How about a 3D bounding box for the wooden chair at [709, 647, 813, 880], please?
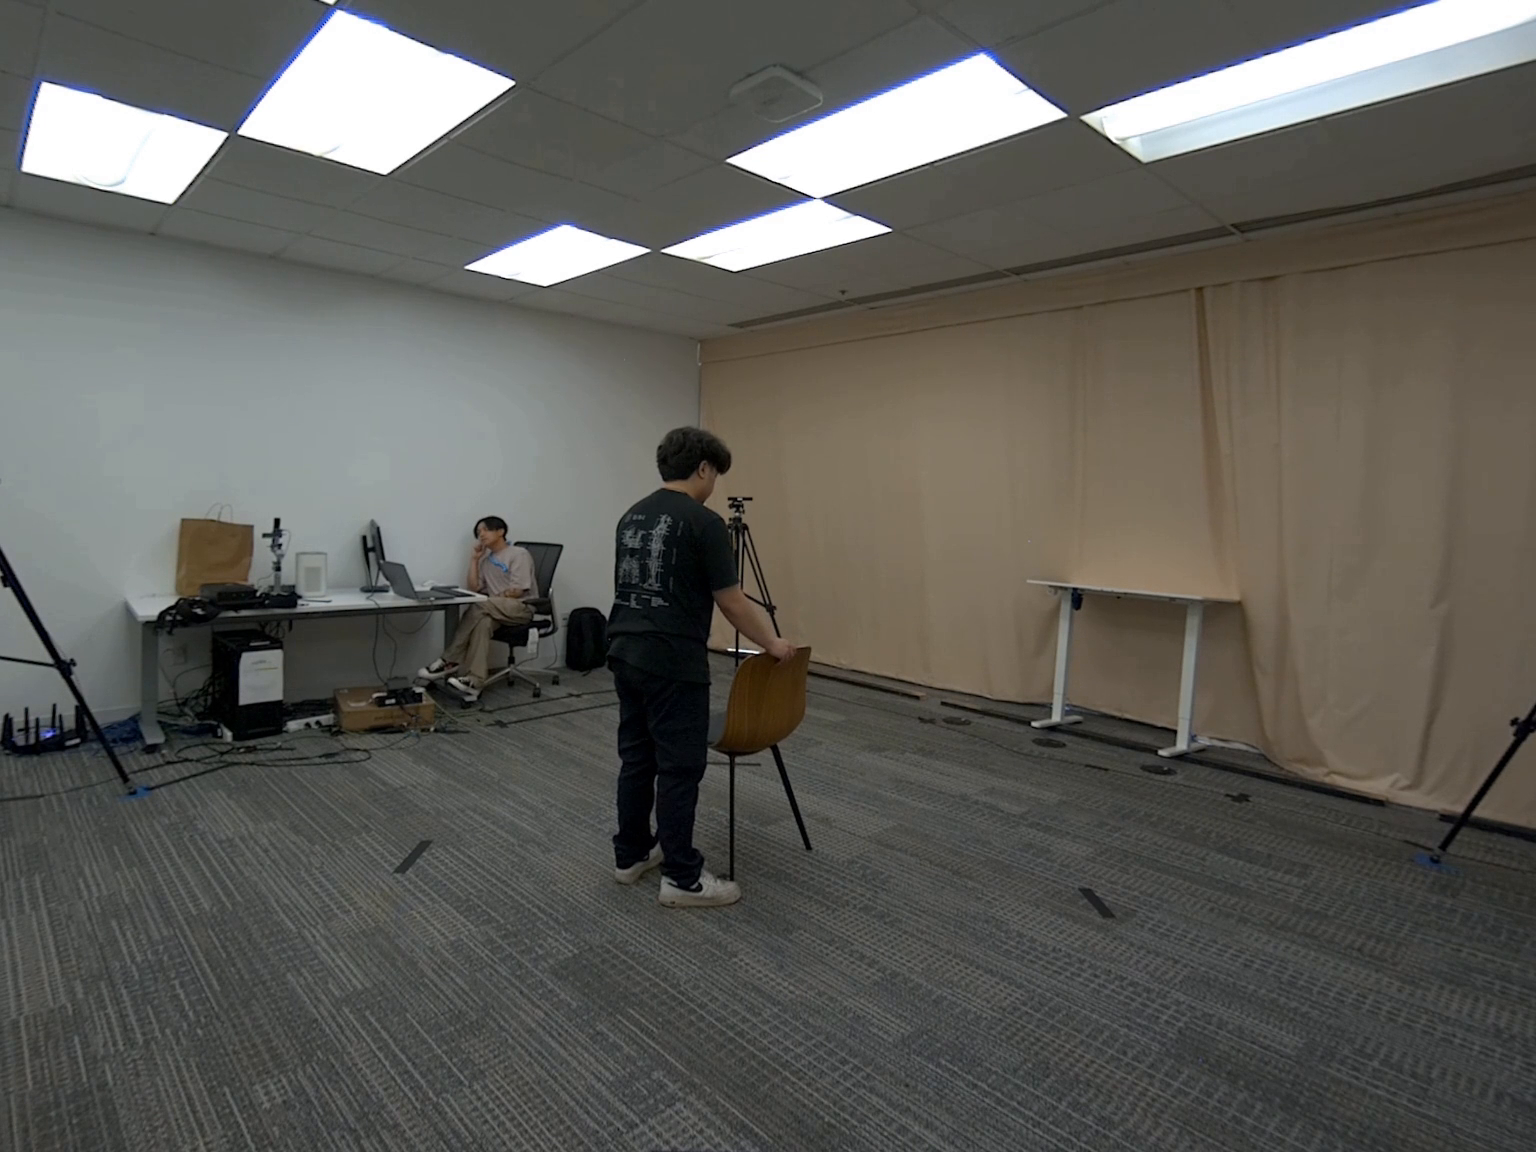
[{"bbox_3d":[-0.143,0.660,3.336,0.537,0.873,0.467,11,9,44],"label":"wooden chair"}]
